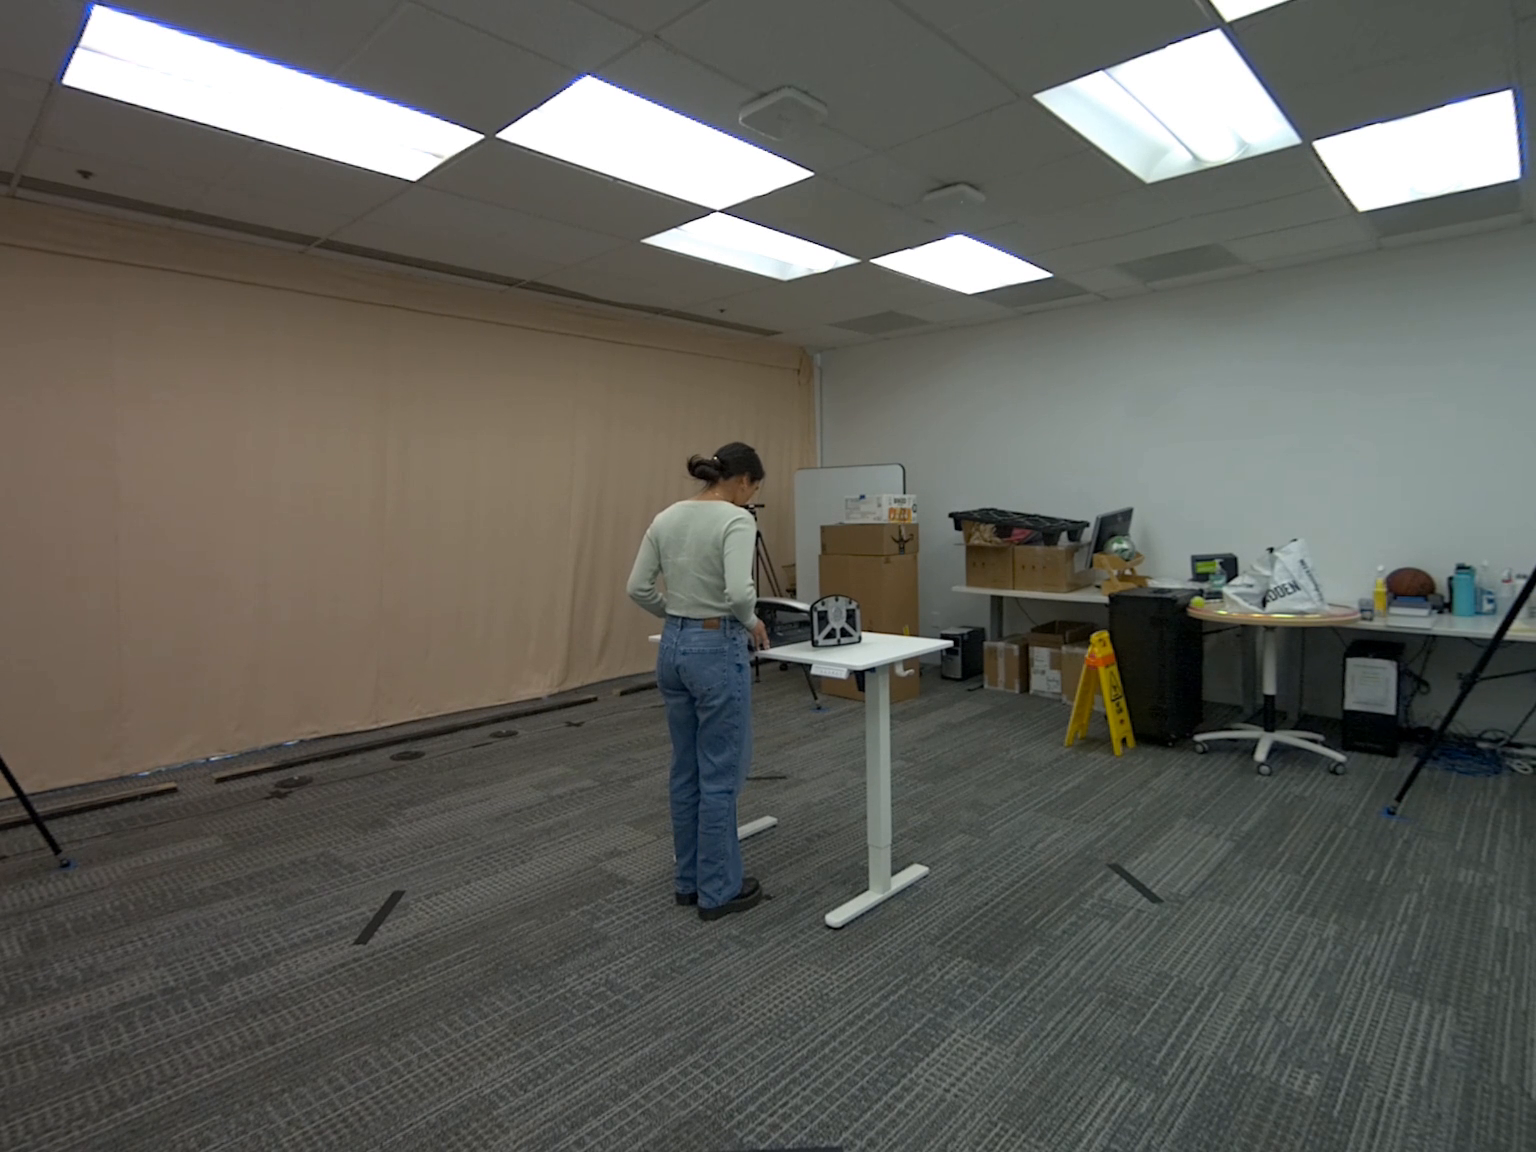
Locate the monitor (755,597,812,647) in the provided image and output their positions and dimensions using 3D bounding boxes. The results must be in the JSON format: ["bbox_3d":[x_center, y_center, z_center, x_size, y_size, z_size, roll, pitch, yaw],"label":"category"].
[{"bbox_3d":[0.078,0.167,3.142,0.539,0.187,0.522,-1,-1,44],"label":"monitor"}]
